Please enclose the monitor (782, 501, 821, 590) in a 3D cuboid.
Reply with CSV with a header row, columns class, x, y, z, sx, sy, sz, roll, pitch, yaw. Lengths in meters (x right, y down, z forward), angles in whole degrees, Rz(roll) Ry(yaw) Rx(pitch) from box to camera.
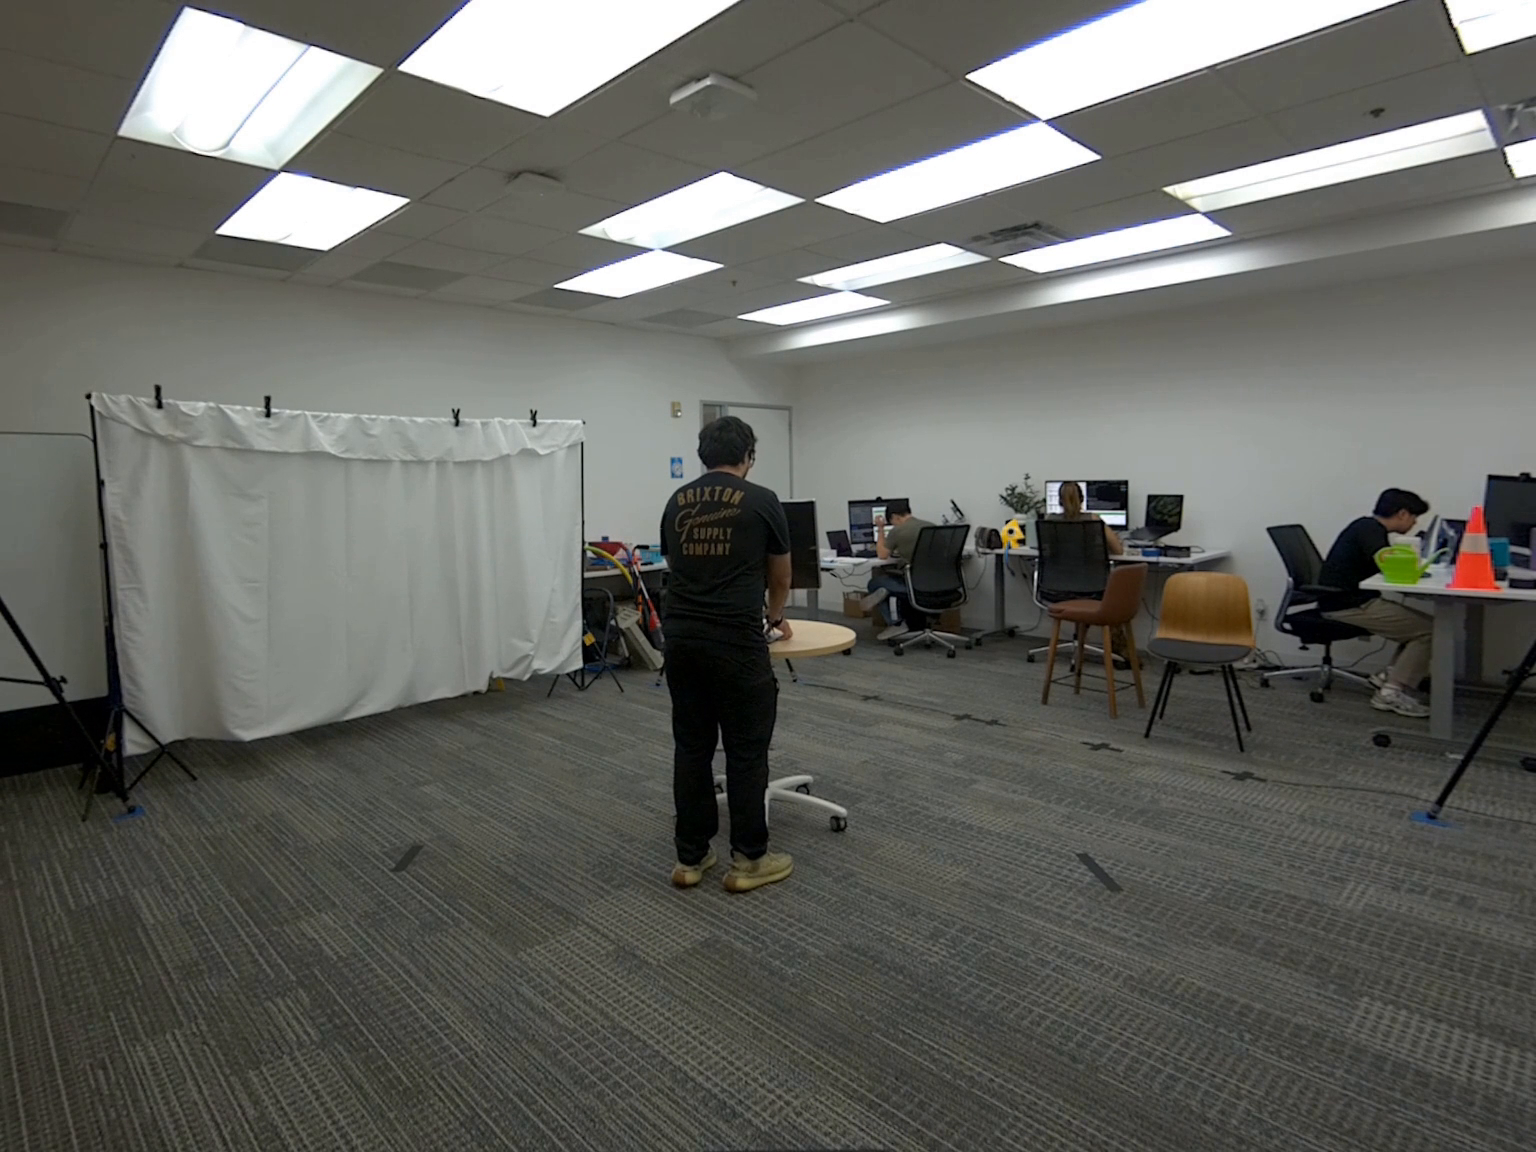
class,x,y,z,sx,sy,sz,roll,pitch,yaw
monitor,-0.083,-0.017,3.313,0.575,0.549,0.208,1,10,17
